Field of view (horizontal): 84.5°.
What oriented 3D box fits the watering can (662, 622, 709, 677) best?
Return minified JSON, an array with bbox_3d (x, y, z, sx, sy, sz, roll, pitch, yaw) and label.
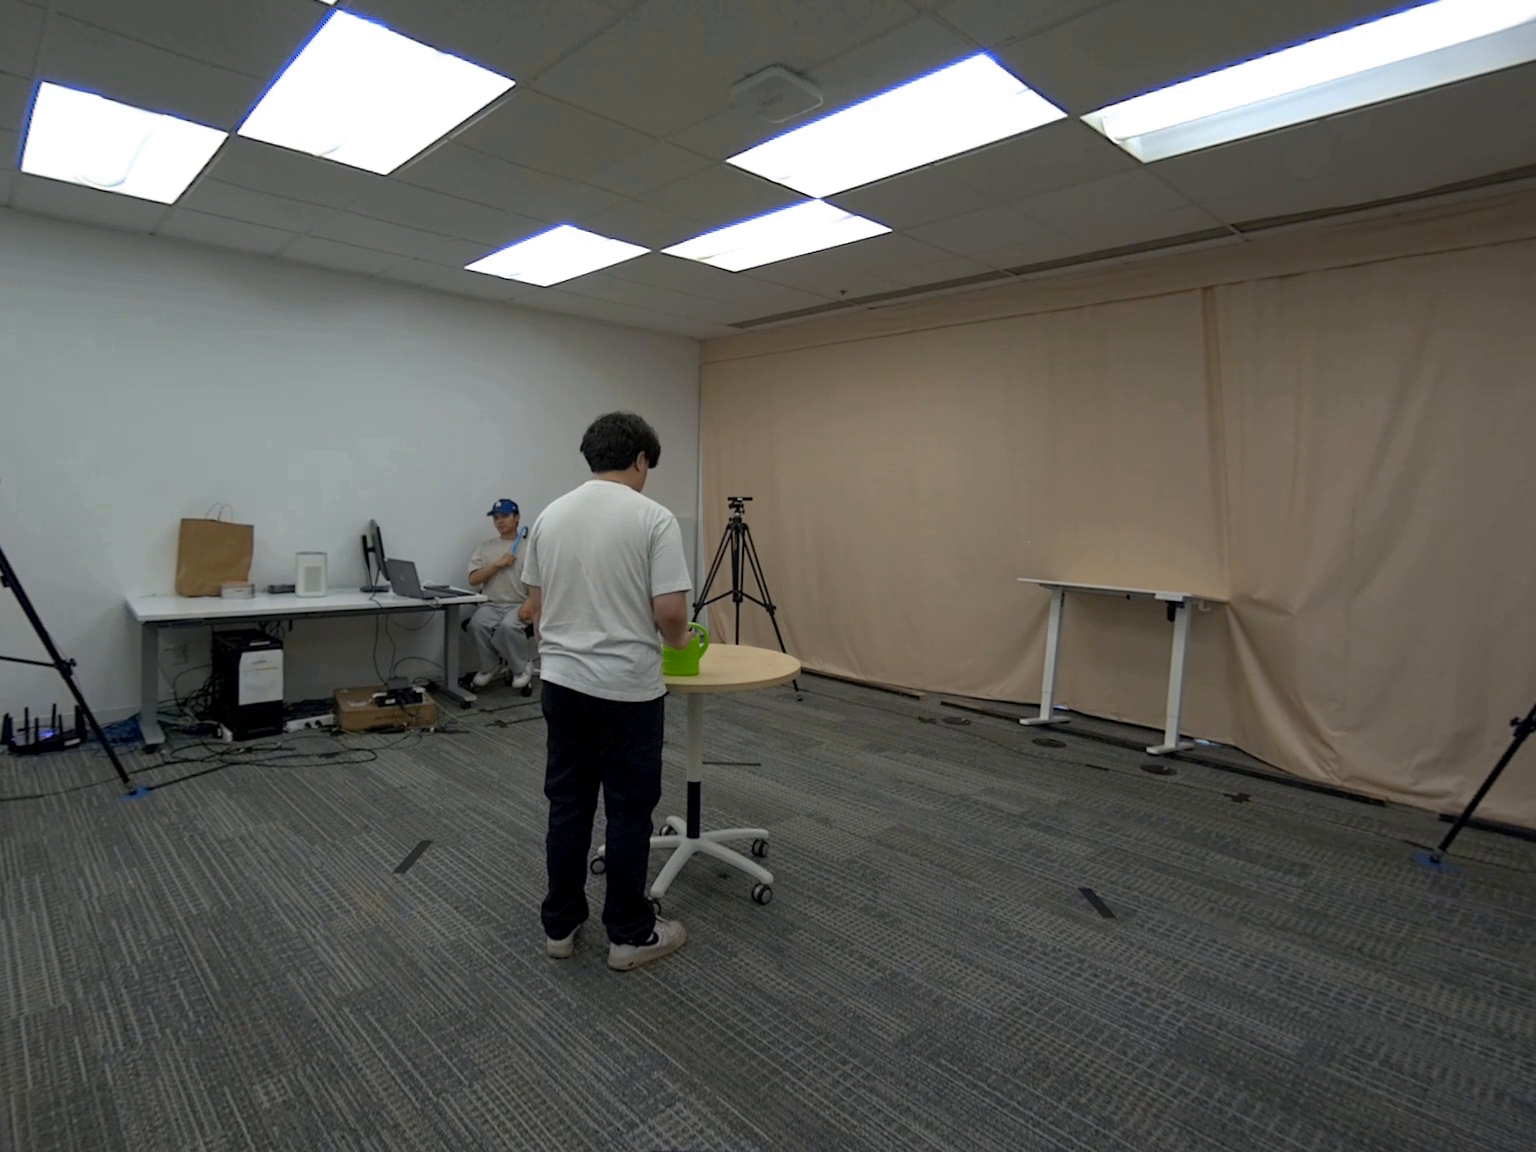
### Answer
[{"bbox_3d":[-0.353,0.248,2.865,0.280,0.176,0.097,3,3,8],"label":"watering can"}]
